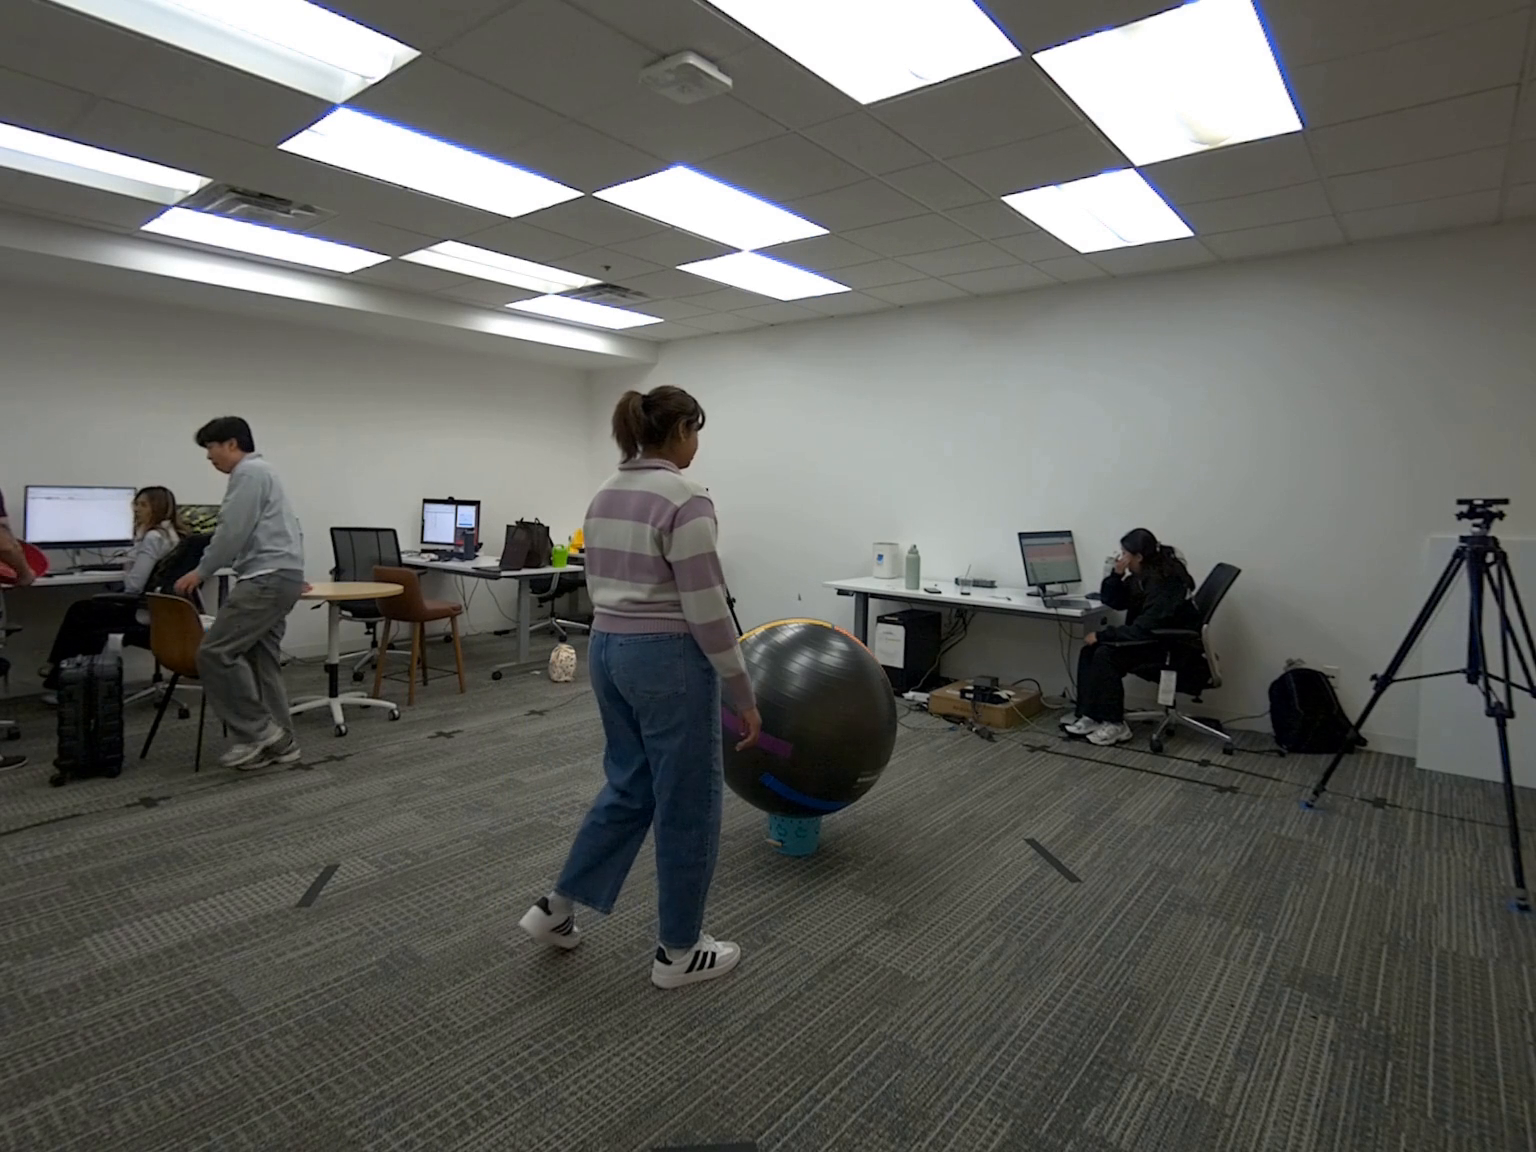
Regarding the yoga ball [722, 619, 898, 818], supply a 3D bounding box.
[{"bbox_3d":[0.113,0.541,3.317,0.757,0.756,0.762,1,4,-2],"label":"yoga ball"}]
